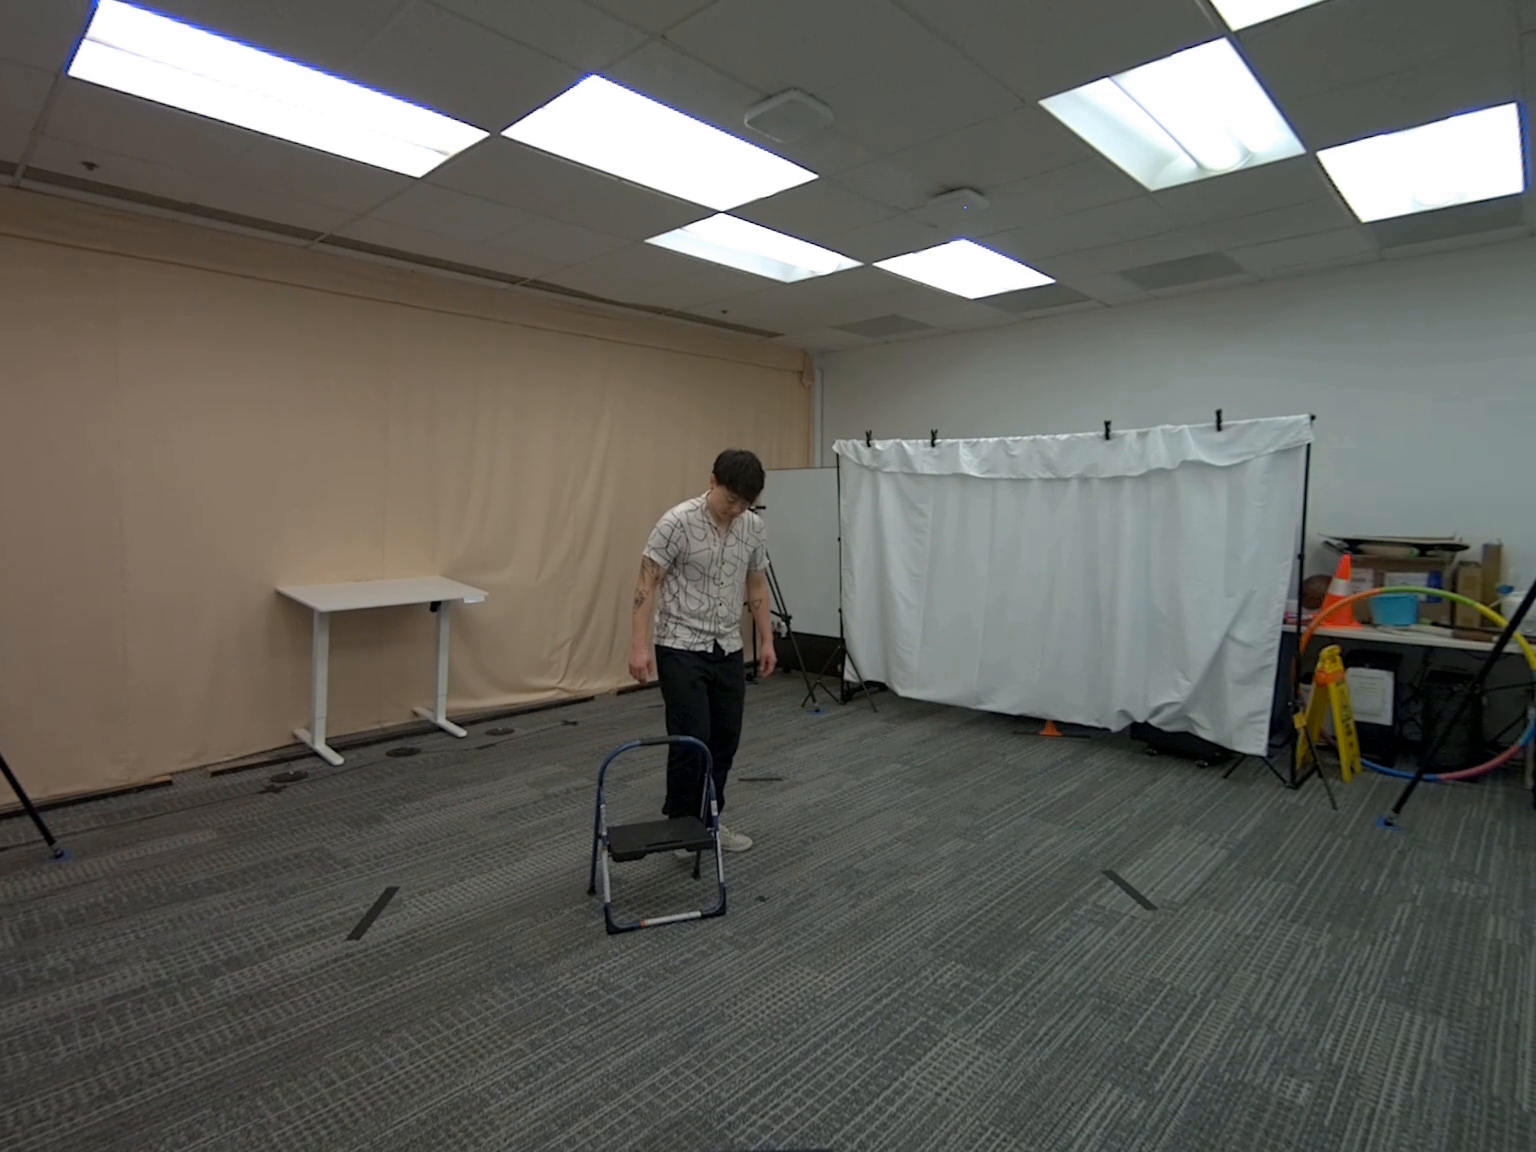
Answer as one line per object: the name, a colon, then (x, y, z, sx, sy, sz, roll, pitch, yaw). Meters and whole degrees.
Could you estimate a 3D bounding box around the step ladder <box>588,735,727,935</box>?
step ladder: (-0.397, 0.846, 2.936, 0.422, 0.605, 0.357, -2, 3, -21)
